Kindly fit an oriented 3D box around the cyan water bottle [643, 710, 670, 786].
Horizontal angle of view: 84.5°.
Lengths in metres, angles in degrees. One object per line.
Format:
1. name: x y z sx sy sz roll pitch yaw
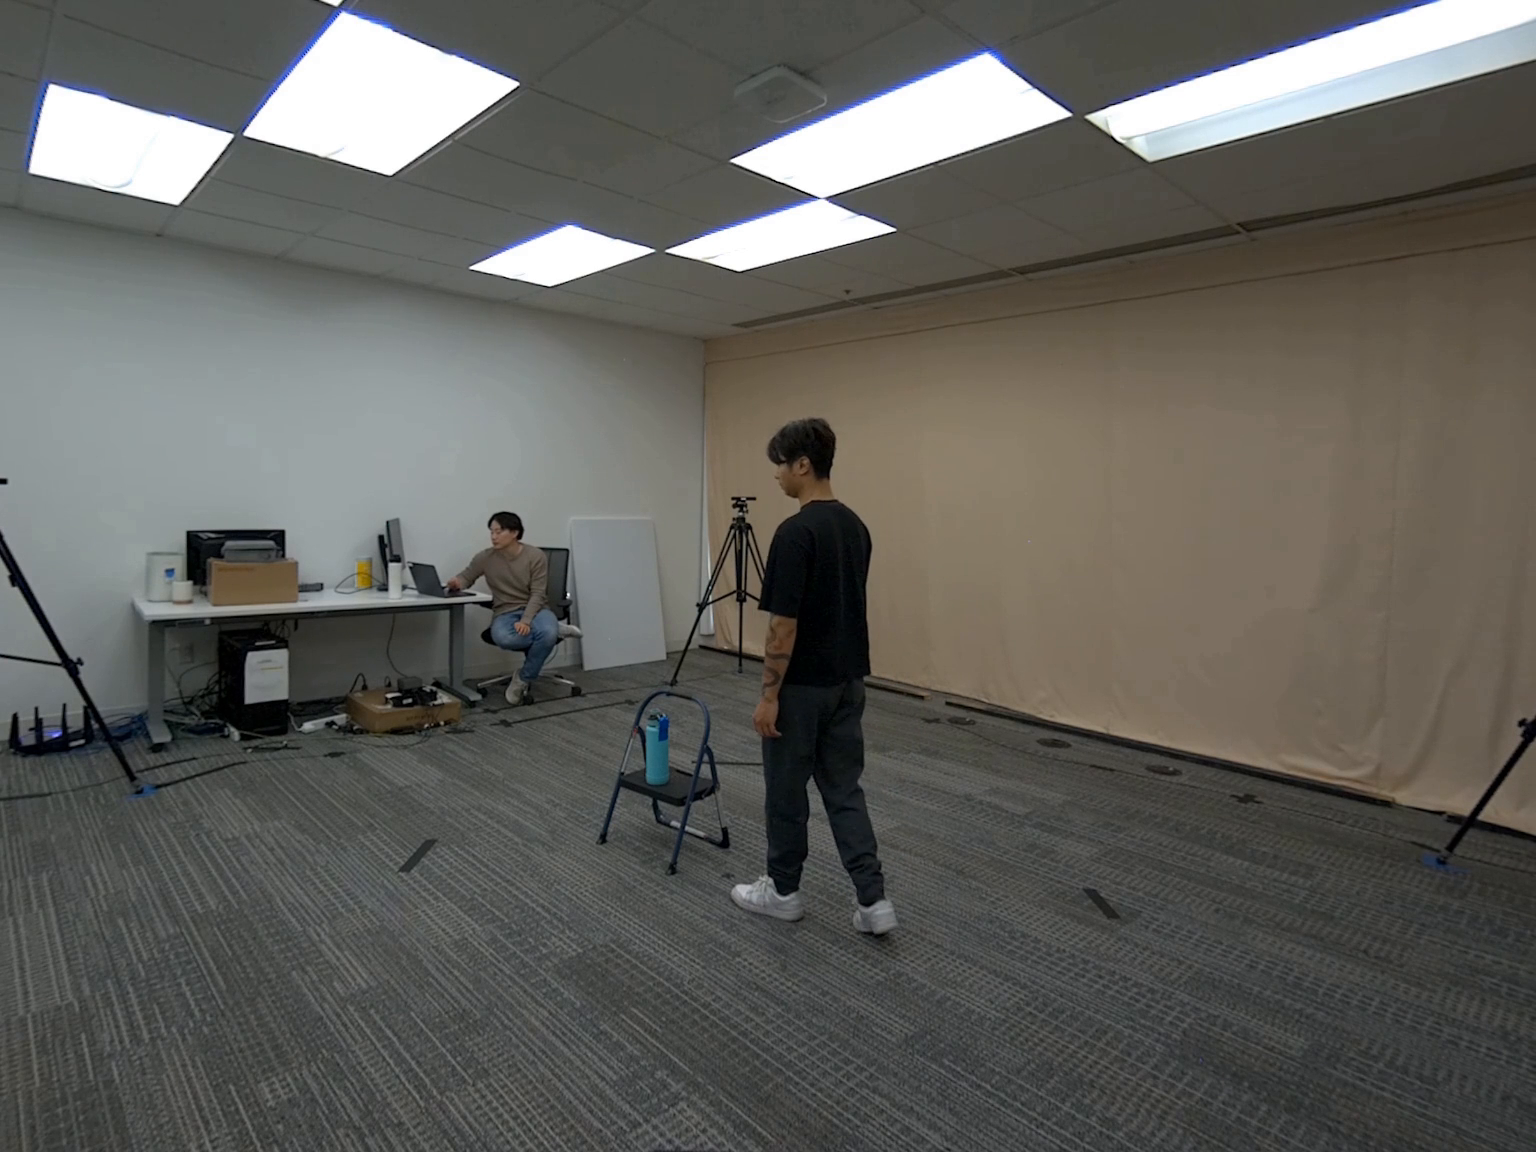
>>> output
1. cyan water bottle: -0.447 0.679 3.340 0.092 0.283 0.092 1 3 -1
